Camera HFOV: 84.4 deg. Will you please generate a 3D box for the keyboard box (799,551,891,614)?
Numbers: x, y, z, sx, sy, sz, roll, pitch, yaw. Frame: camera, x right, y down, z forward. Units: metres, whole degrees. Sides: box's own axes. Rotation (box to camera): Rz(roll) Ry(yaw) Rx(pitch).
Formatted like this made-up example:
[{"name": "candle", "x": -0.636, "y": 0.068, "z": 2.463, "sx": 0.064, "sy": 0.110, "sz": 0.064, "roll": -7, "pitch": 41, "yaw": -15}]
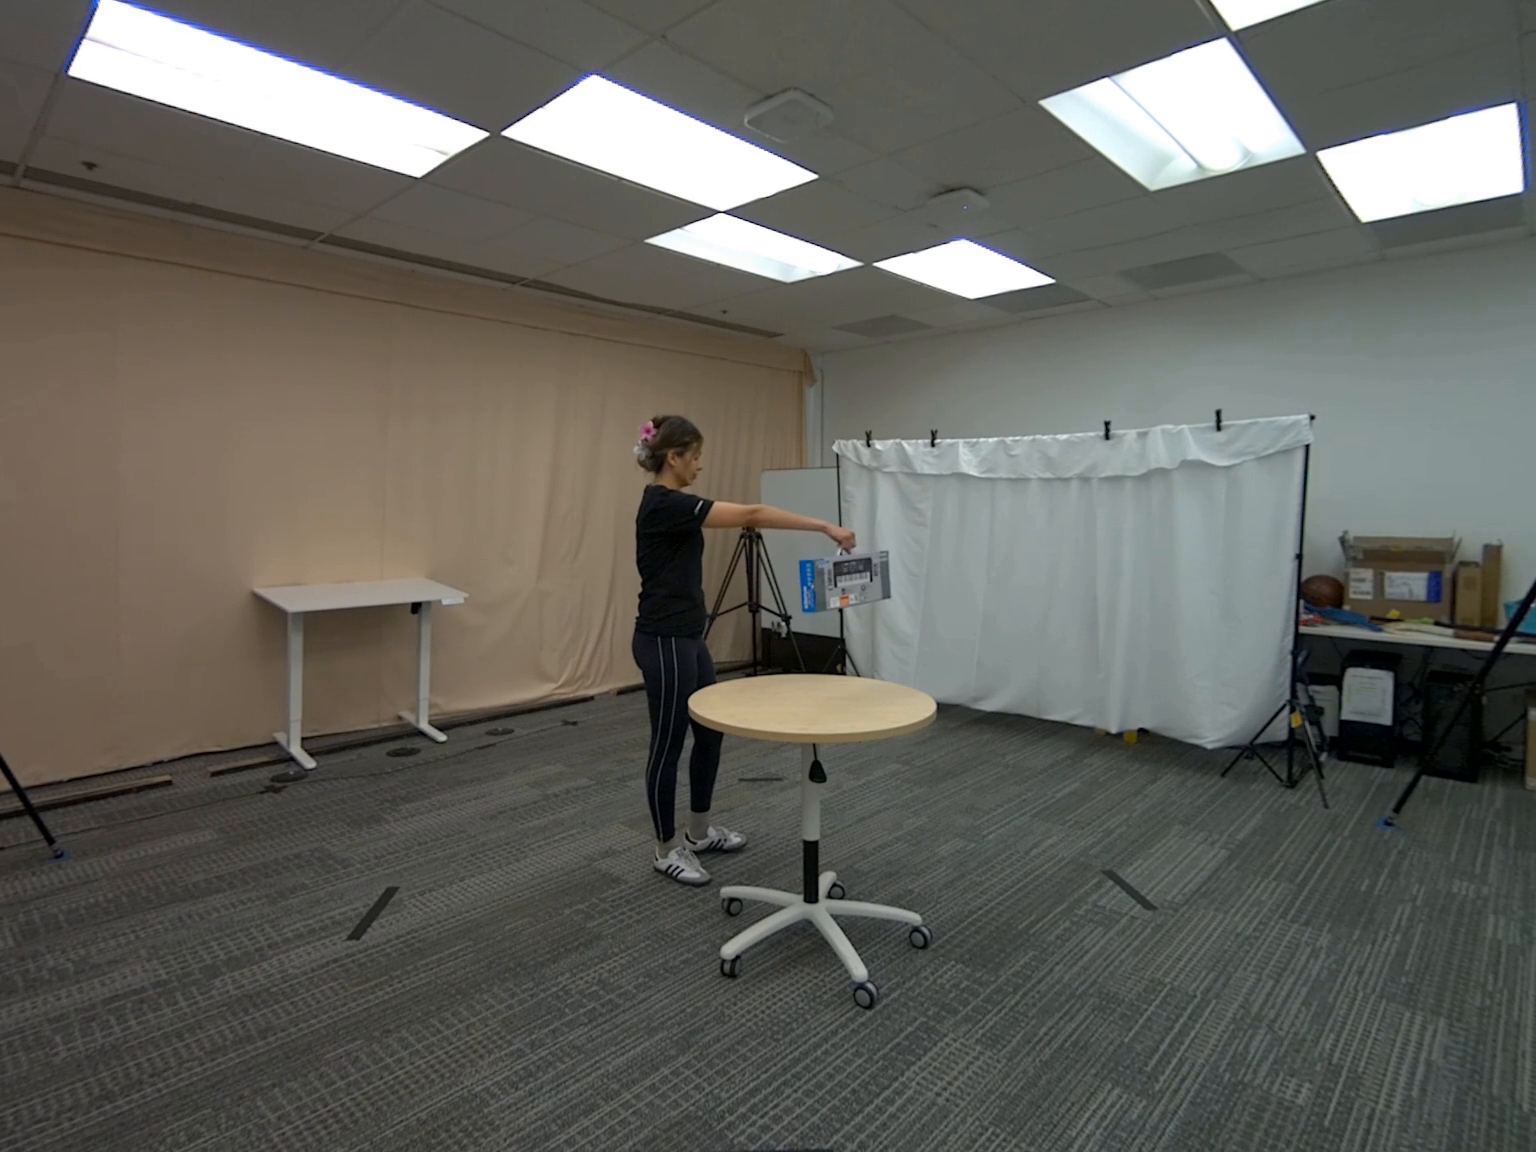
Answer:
[{"name": "keyboard box", "x": 0.272, "y": 0.020, "z": 2.868, "sx": 0.061, "sy": 0.175, "sz": 0.424, "roll": -1, "pitch": 4, "yaw": 43}]
